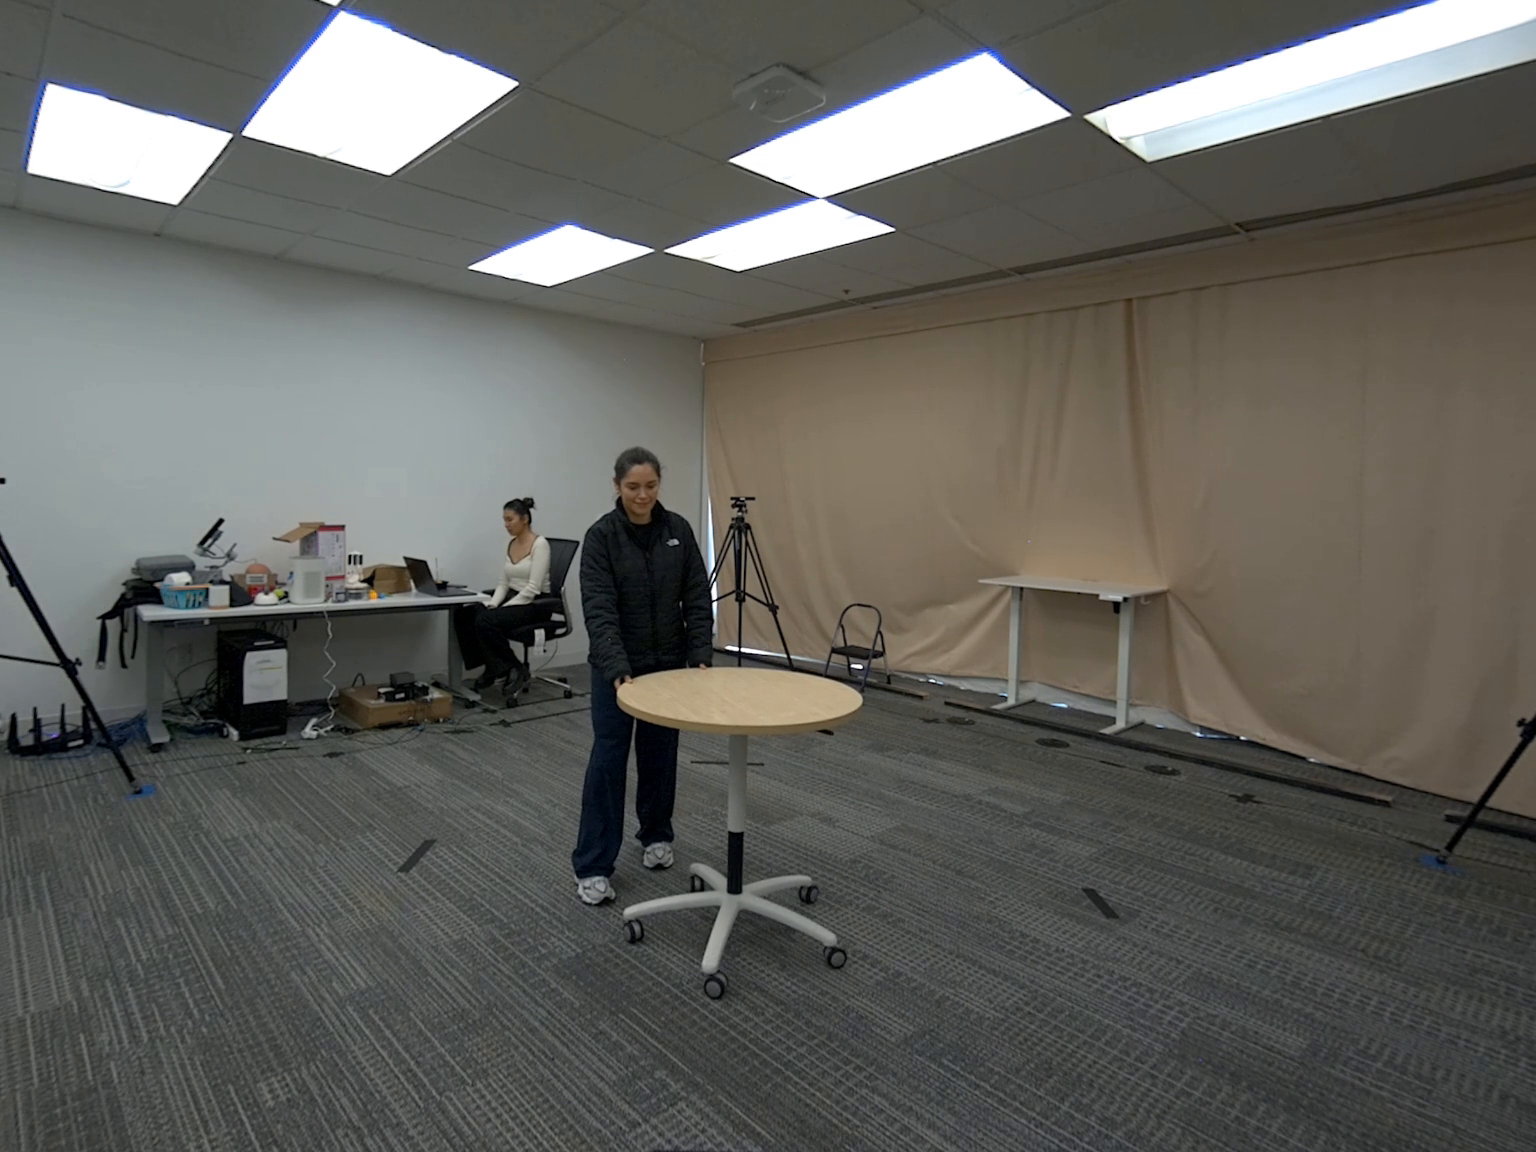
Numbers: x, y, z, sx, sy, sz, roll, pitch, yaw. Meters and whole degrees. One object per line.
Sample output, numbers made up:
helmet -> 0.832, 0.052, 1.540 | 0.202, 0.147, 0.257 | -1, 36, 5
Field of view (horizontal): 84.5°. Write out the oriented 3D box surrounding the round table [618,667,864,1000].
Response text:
round table -> -0.099, 0.755, 2.664 | 0.784, 0.784, 0.788 | 1, 5, -1
